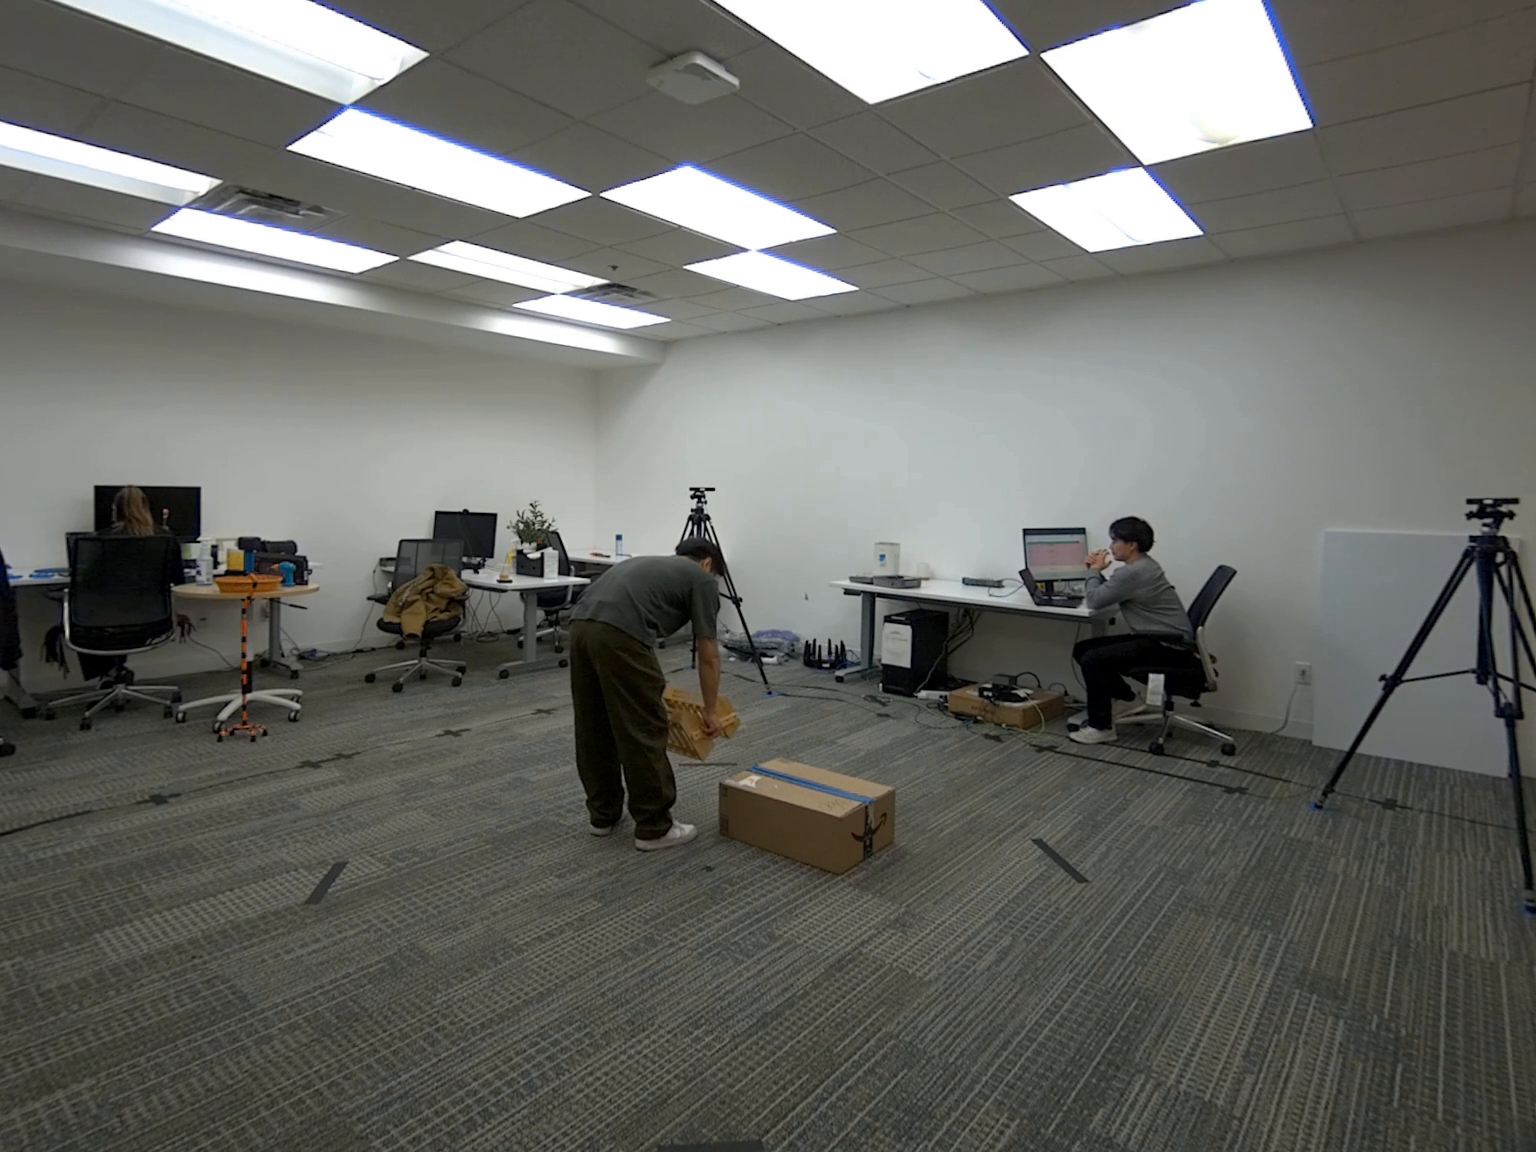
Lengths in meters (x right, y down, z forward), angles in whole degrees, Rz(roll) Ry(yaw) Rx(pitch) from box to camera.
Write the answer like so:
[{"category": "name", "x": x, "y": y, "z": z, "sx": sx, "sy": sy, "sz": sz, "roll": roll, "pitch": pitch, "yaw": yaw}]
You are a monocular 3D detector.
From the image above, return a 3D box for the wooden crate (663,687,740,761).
[{"category": "wooden crate", "x": -0.365, "y": 0.584, "z": 3.611, "sx": 0.335, "sy": 0.292, "sz": 0.273, "roll": 3, "pitch": 40, "yaw": 40}]
